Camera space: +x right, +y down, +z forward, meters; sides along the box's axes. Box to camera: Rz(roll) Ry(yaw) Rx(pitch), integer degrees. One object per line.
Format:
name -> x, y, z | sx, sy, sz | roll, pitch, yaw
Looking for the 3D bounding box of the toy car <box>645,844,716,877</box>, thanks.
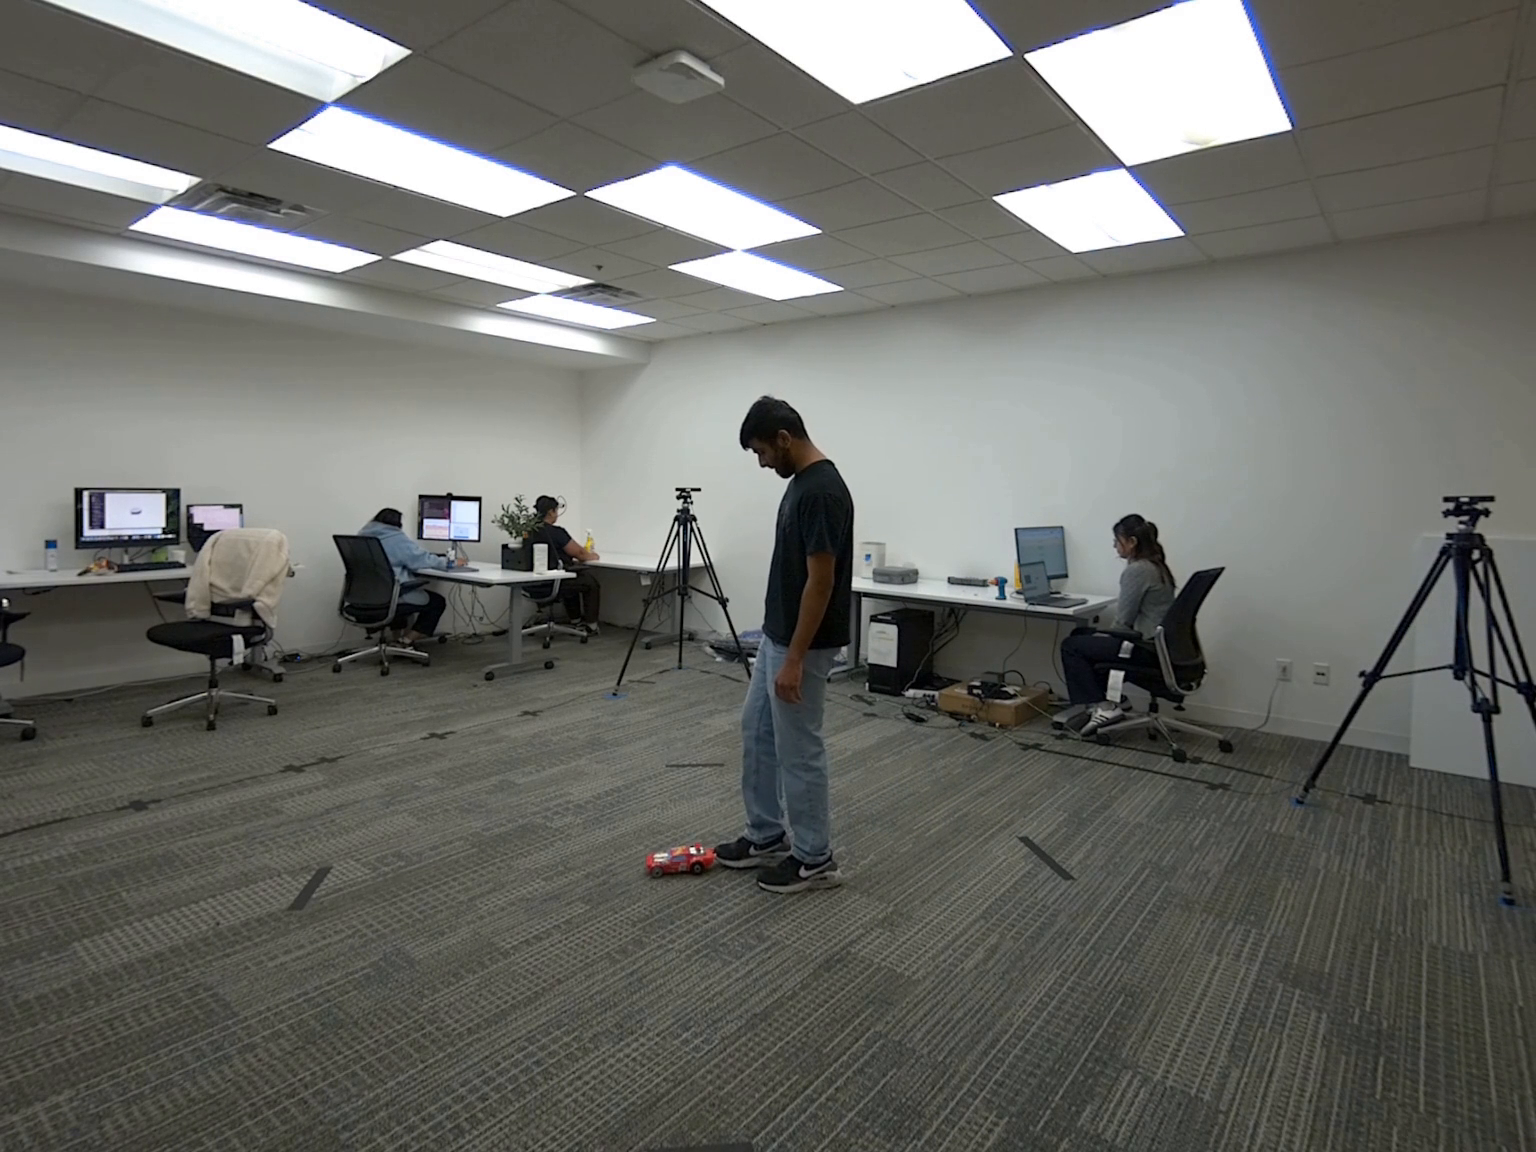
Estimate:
toy car -> -0.322, 1.035, 3.103 | 0.253, 0.083, 0.132 | -13, 6, -8
